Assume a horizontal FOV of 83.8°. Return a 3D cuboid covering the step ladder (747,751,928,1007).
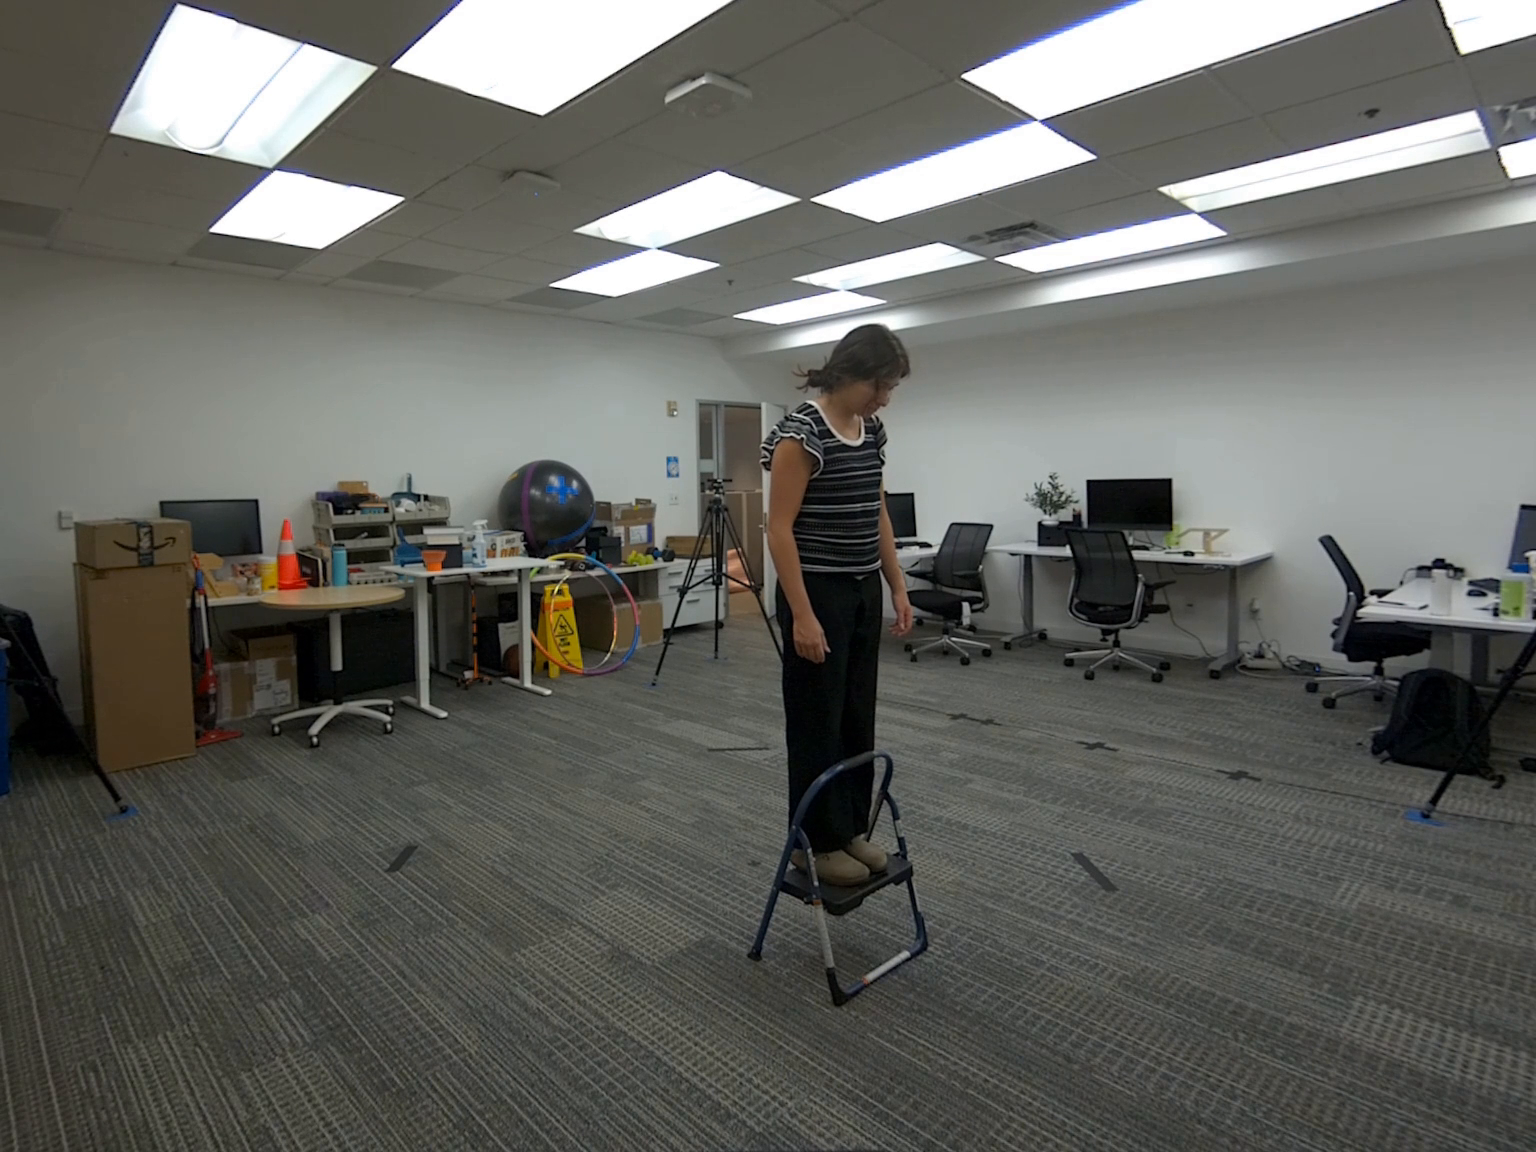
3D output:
[{"bbox_3d":[0.209,0.810,2.496,0.419,0.603,0.360,-6,7,-44],"label":"step ladder"}]
